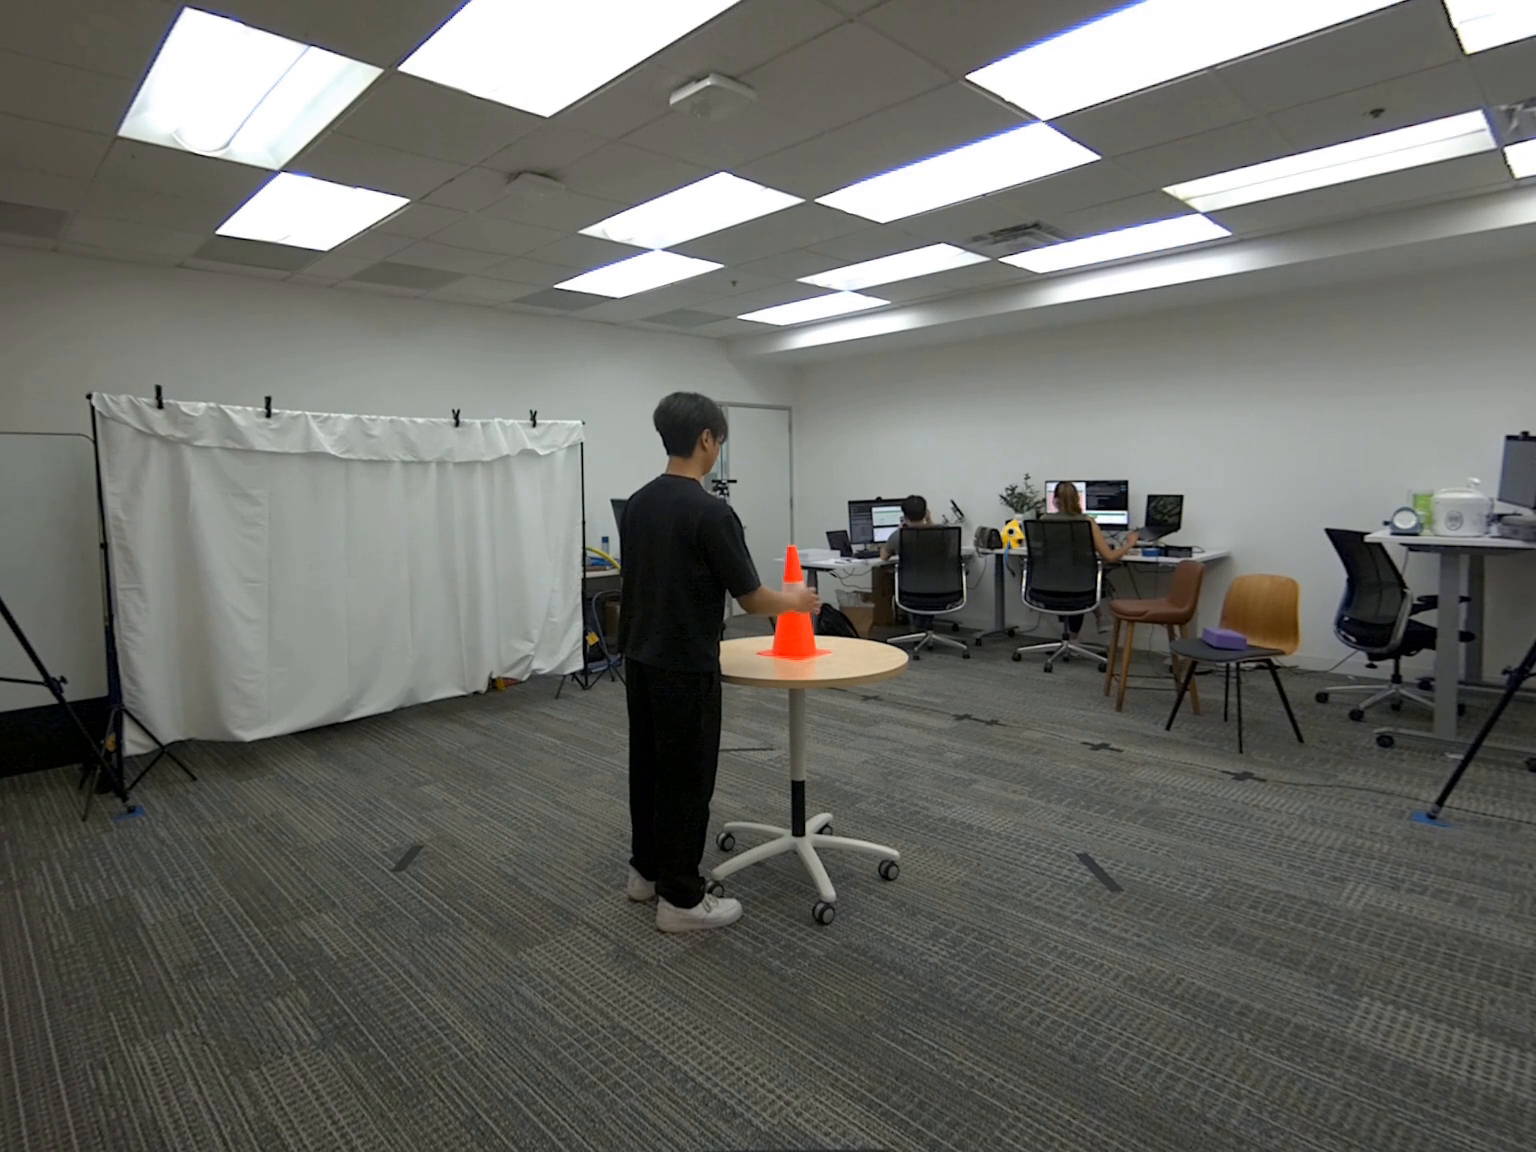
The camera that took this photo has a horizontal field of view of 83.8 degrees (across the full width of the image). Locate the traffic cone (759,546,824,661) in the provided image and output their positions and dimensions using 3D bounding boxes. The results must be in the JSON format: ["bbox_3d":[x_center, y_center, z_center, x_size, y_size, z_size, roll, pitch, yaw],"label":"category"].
[{"bbox_3d":[0.085,0.087,3.009,0.209,0.382,0.200,1,6,40],"label":"traffic cone"}]
